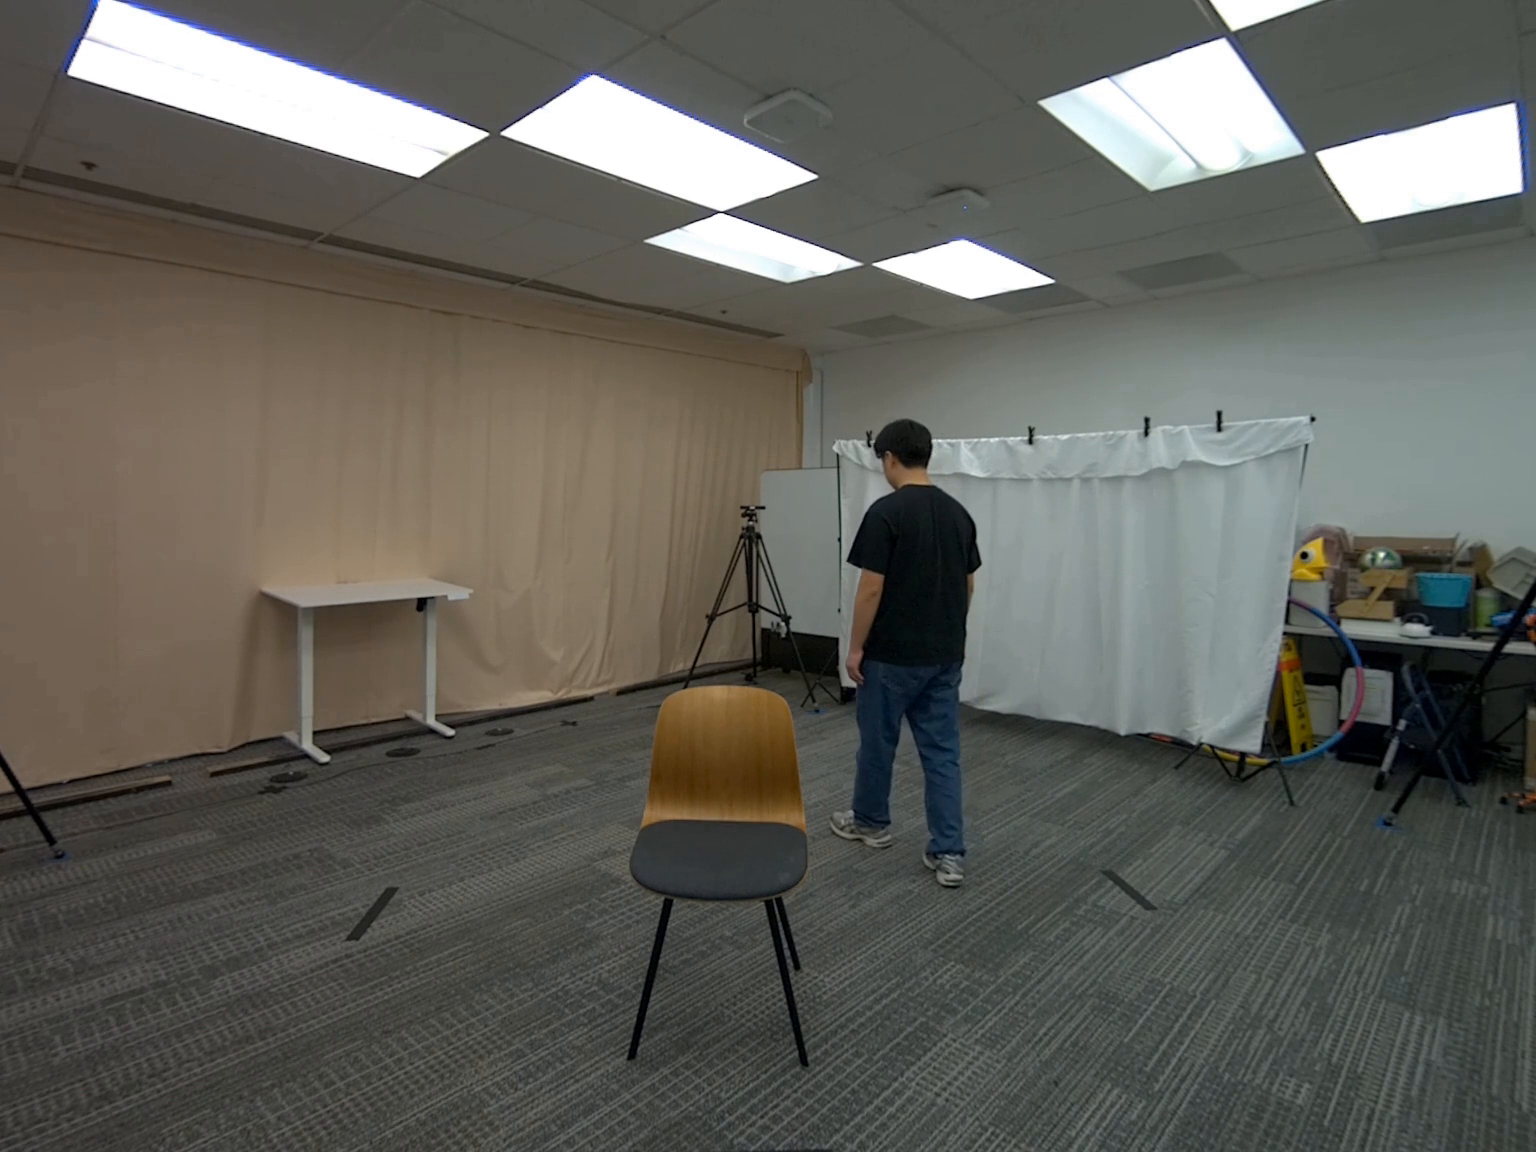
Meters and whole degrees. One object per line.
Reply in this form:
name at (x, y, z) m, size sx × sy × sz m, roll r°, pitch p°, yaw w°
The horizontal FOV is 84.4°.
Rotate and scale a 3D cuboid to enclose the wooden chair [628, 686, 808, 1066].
wooden chair at (-0.115, 0.776, 2.287) m, size 0.479 × 0.878 × 0.522 m, roll 0°, pitch -1°, yaw 1°
